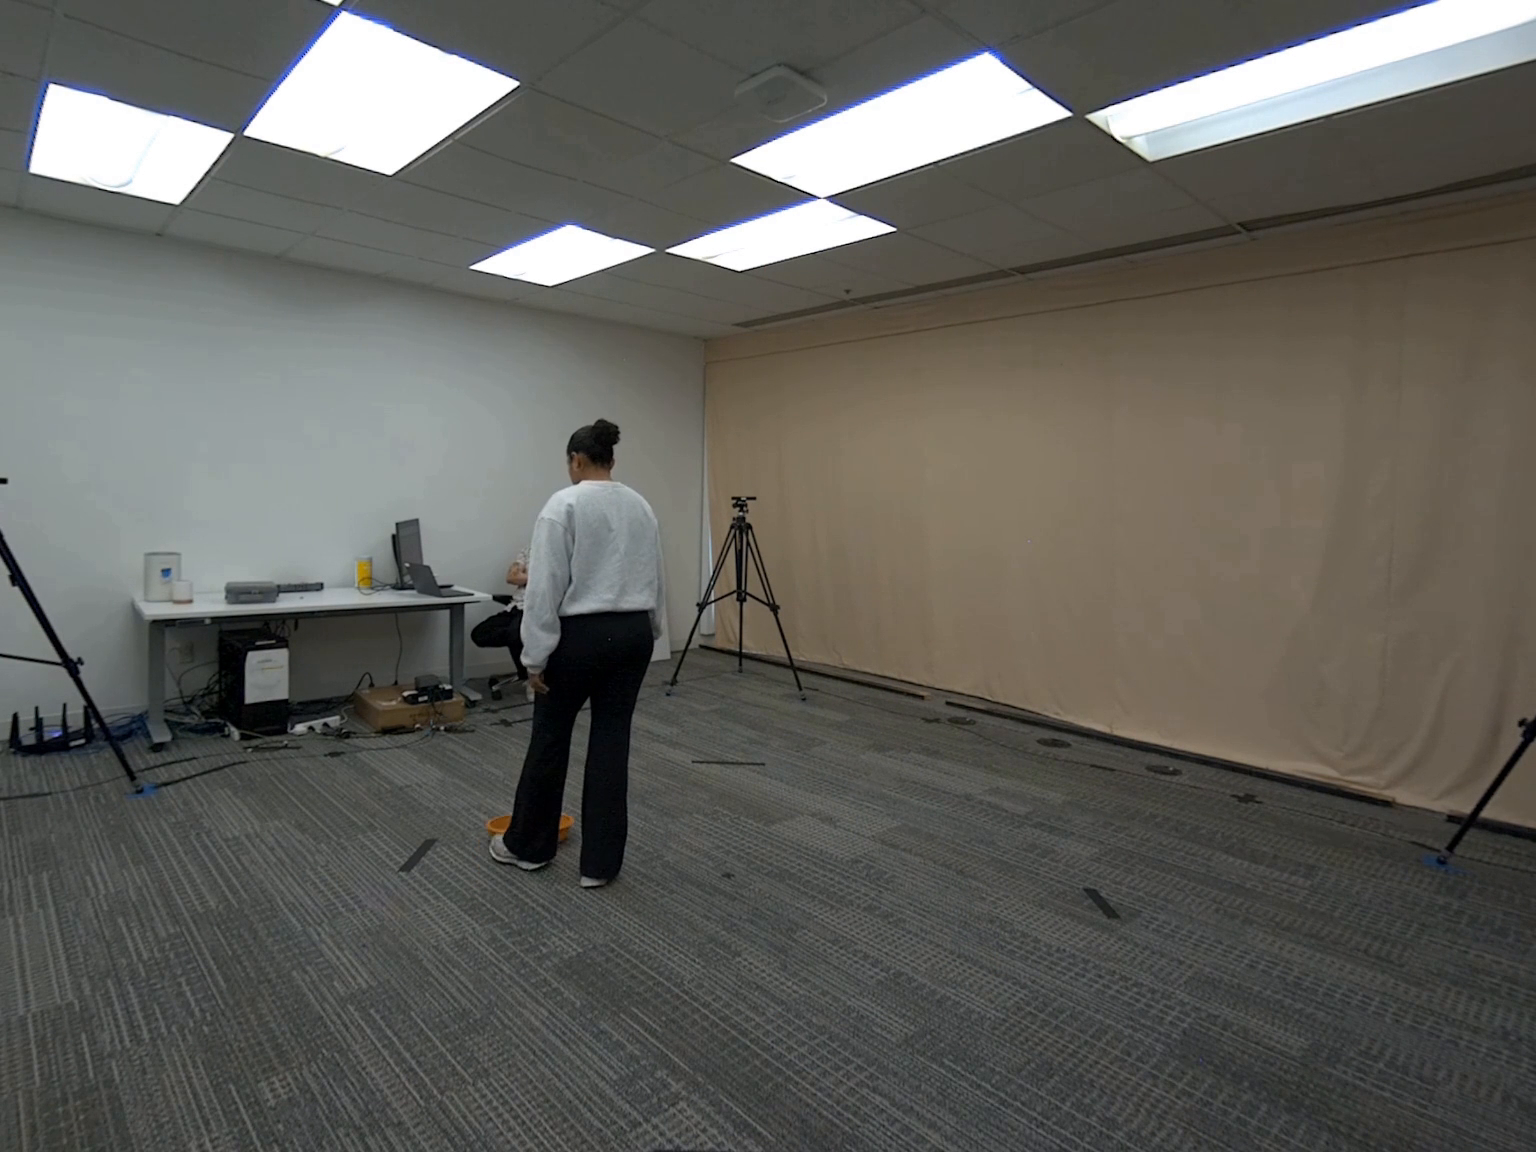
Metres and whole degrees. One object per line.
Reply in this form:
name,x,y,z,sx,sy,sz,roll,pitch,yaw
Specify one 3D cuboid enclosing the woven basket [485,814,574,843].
woven basket,-0.950,1.023,3.365,0.346,0.073,0.256,1,2,-16
